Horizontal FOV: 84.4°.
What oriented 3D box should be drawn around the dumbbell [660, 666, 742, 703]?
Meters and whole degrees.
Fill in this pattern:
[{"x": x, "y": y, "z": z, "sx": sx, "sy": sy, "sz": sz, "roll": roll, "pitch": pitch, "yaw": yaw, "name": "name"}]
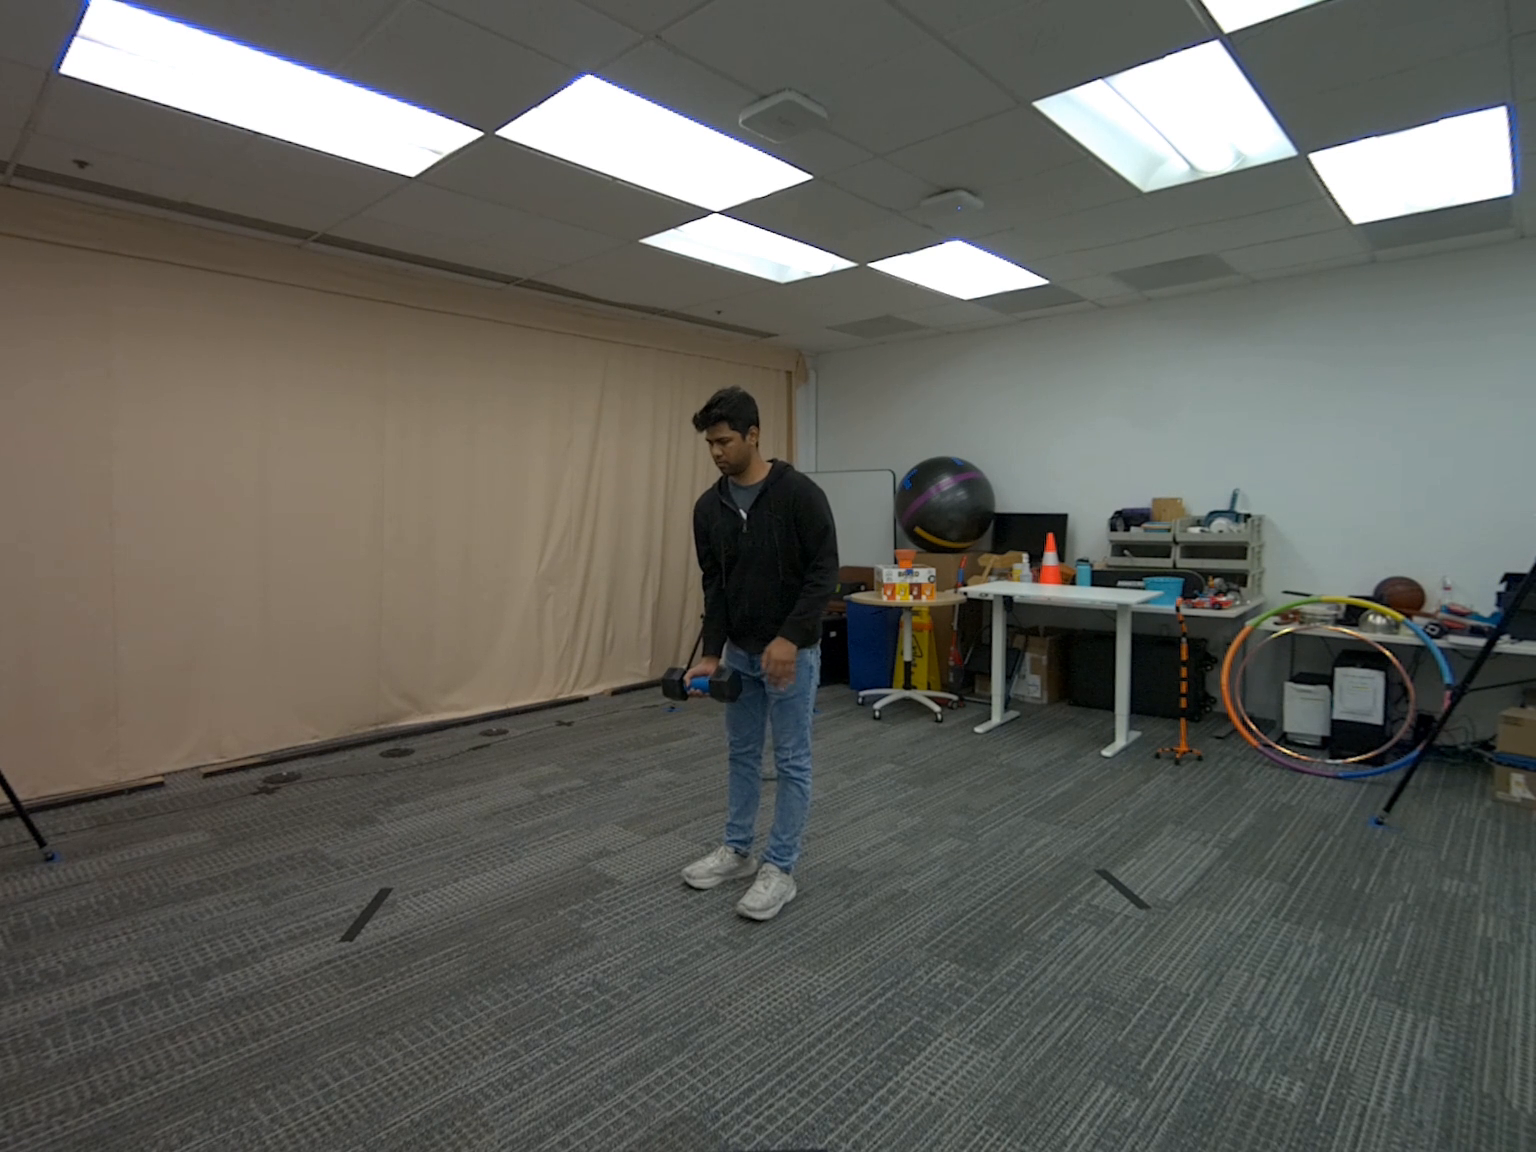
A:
[{"x": -0.237, "y": 0.377, "z": 2.964, "sx": 0.302, "sy": 0.123, "sz": 0.106, "roll": -3, "pitch": 3, "yaw": 35, "name": "dumbbell"}]
